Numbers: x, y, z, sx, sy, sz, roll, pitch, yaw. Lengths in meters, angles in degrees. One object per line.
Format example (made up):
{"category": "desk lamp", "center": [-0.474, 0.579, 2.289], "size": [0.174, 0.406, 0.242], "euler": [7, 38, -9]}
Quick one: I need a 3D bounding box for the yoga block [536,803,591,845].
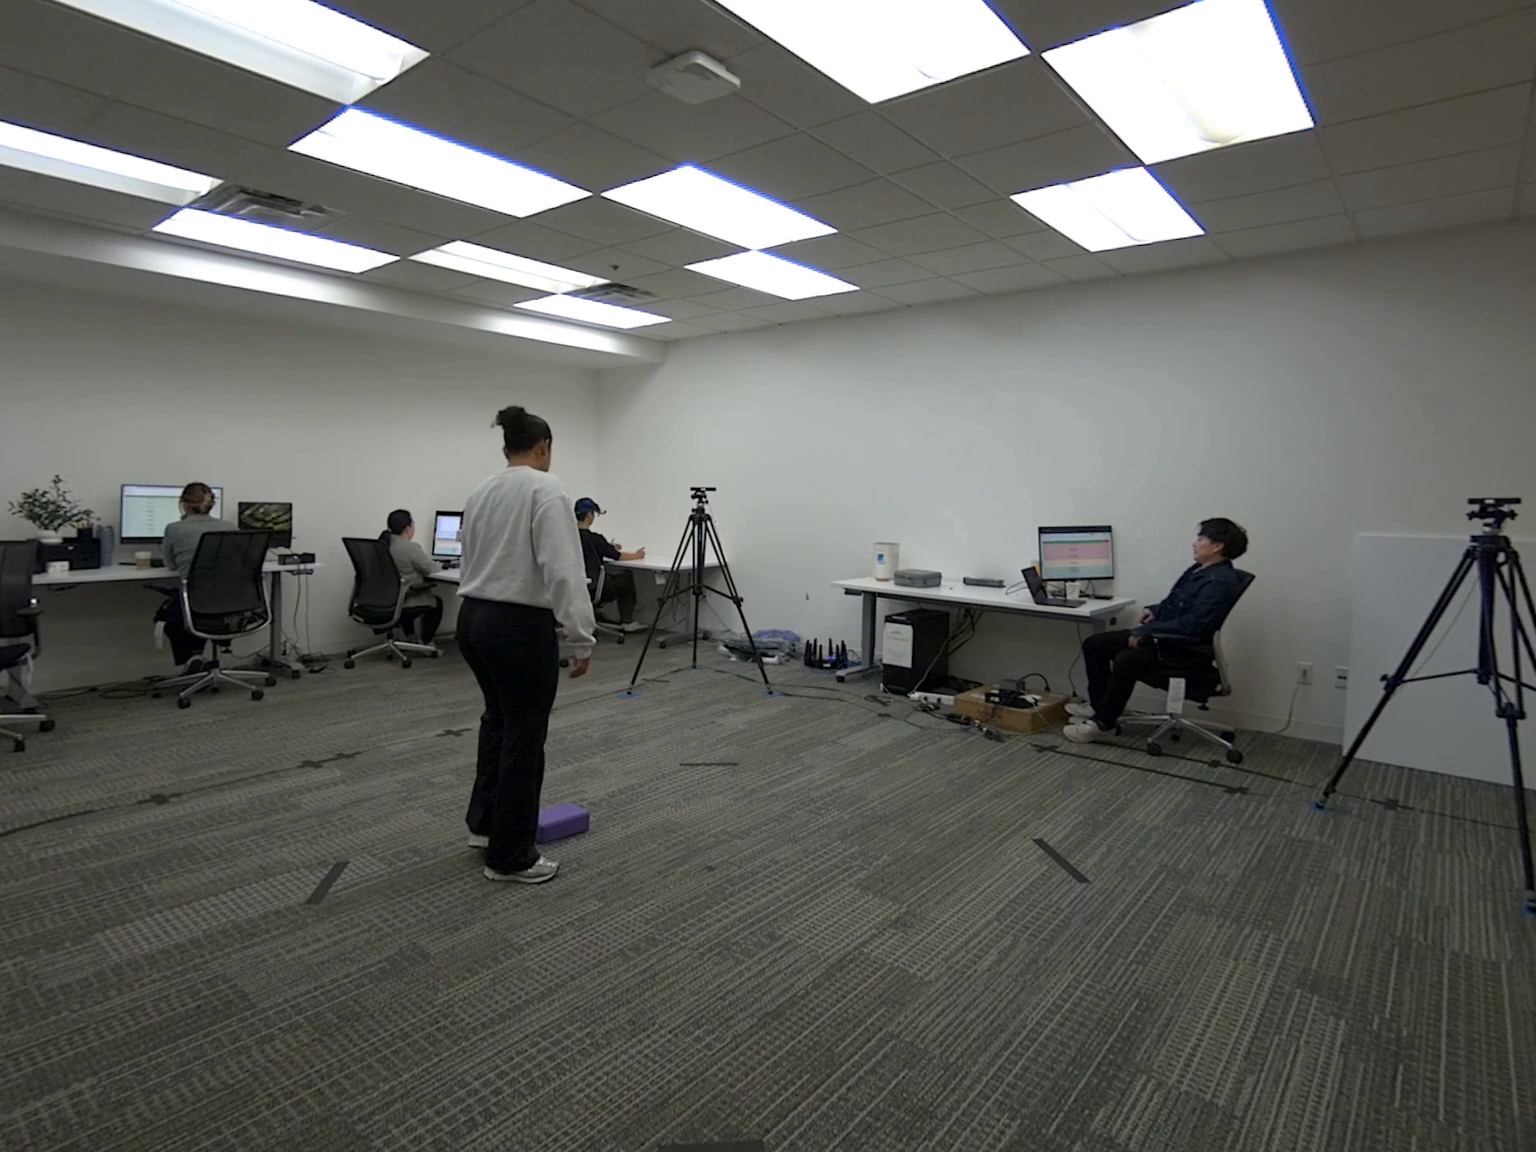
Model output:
{"category": "yoga block", "center": [-0.858, 0.986, 3.410], "size": [0.154, 0.076, 0.222], "euler": [5, 6, 44]}
